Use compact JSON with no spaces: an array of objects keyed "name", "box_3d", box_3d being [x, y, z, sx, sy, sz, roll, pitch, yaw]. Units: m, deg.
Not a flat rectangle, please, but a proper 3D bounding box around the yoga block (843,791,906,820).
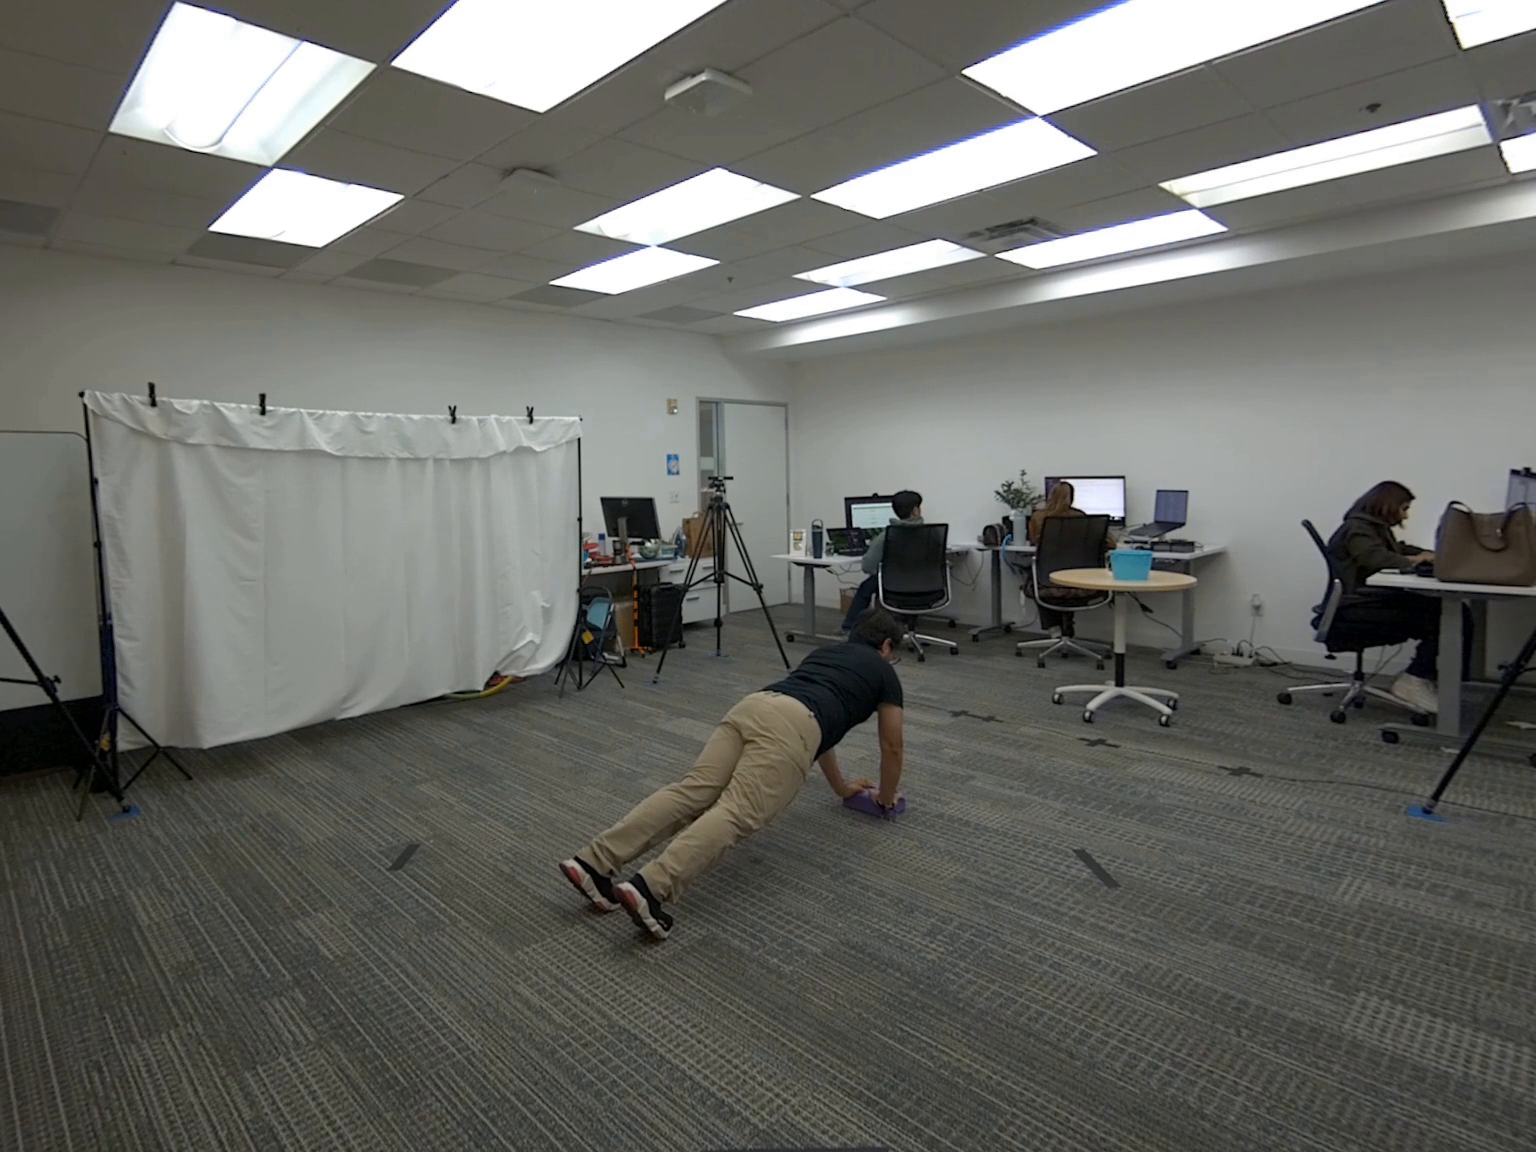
[{"name":"yoga block","box_3d":[0.448,0.938,3.584,0.236,0.076,0.145,6,8,43]}]
